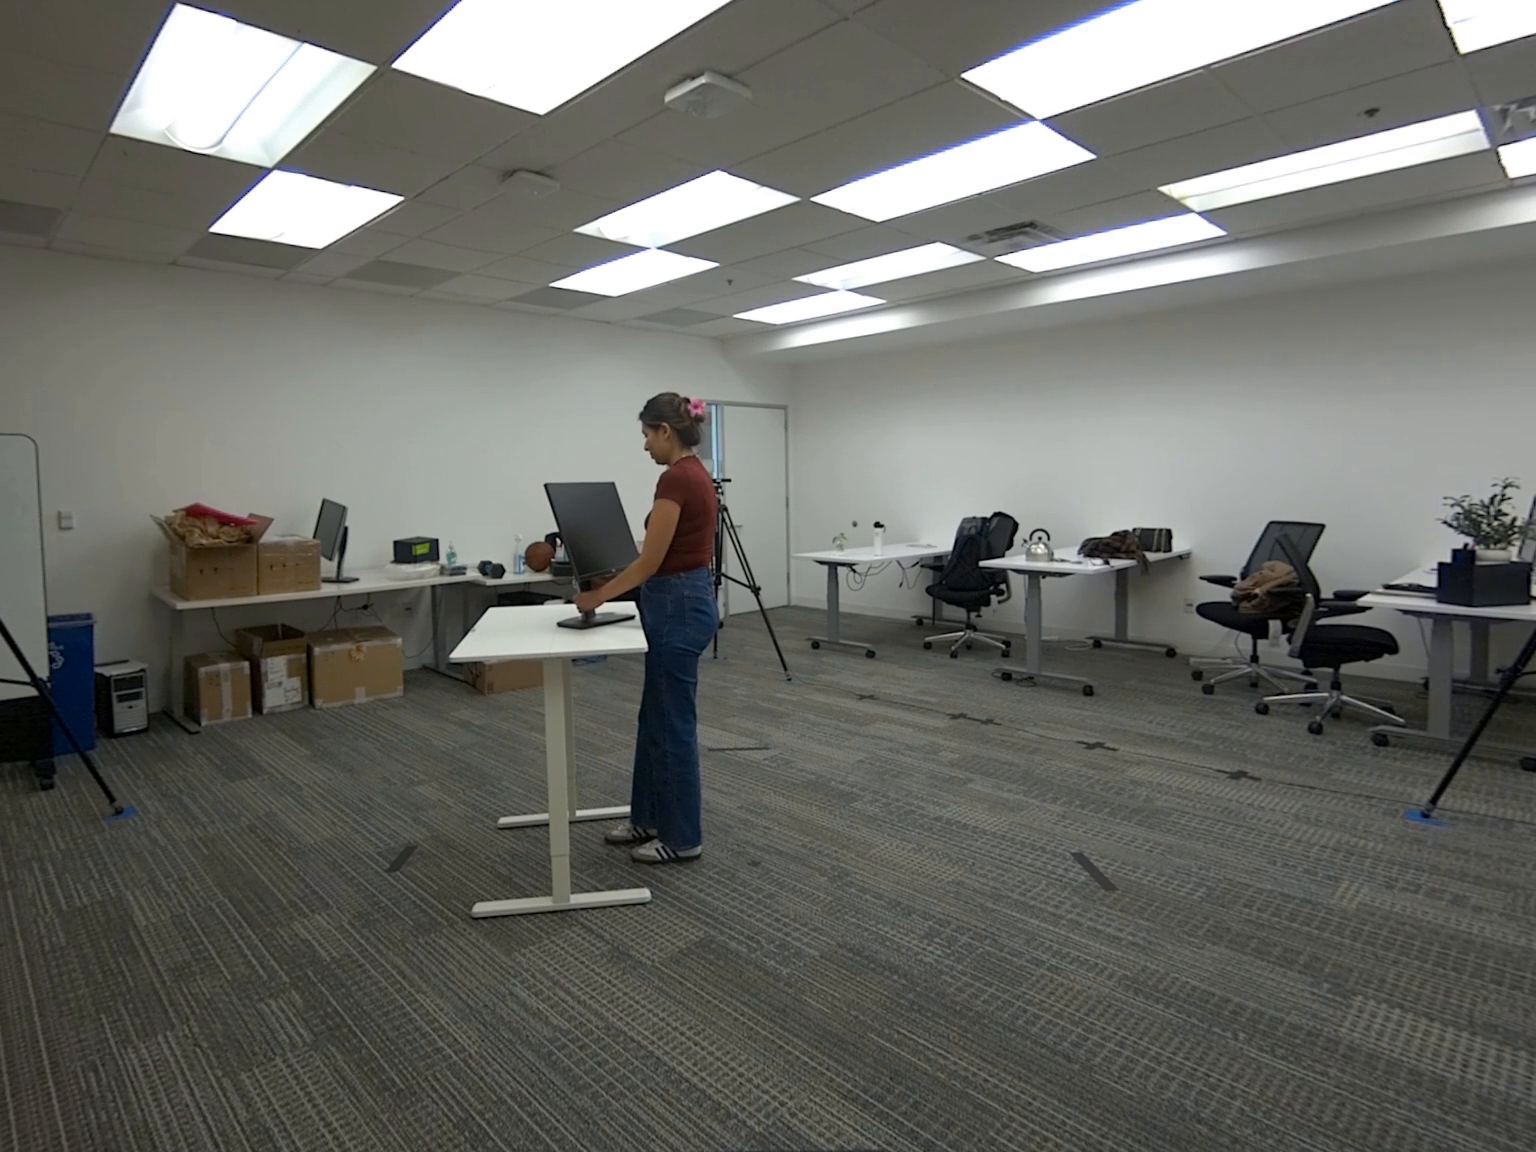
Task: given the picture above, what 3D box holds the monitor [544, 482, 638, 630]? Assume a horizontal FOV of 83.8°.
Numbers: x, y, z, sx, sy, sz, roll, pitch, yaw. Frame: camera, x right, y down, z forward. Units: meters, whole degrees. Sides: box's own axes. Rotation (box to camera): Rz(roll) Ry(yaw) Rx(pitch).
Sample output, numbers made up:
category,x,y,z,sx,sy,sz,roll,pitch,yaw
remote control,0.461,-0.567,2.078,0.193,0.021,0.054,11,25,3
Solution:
category,x,y,z,sx,sy,sz,roll,pitch,yaw
monitor,-0.656,-0.084,3.150,0.190,0.521,0.533,-3,3,14
